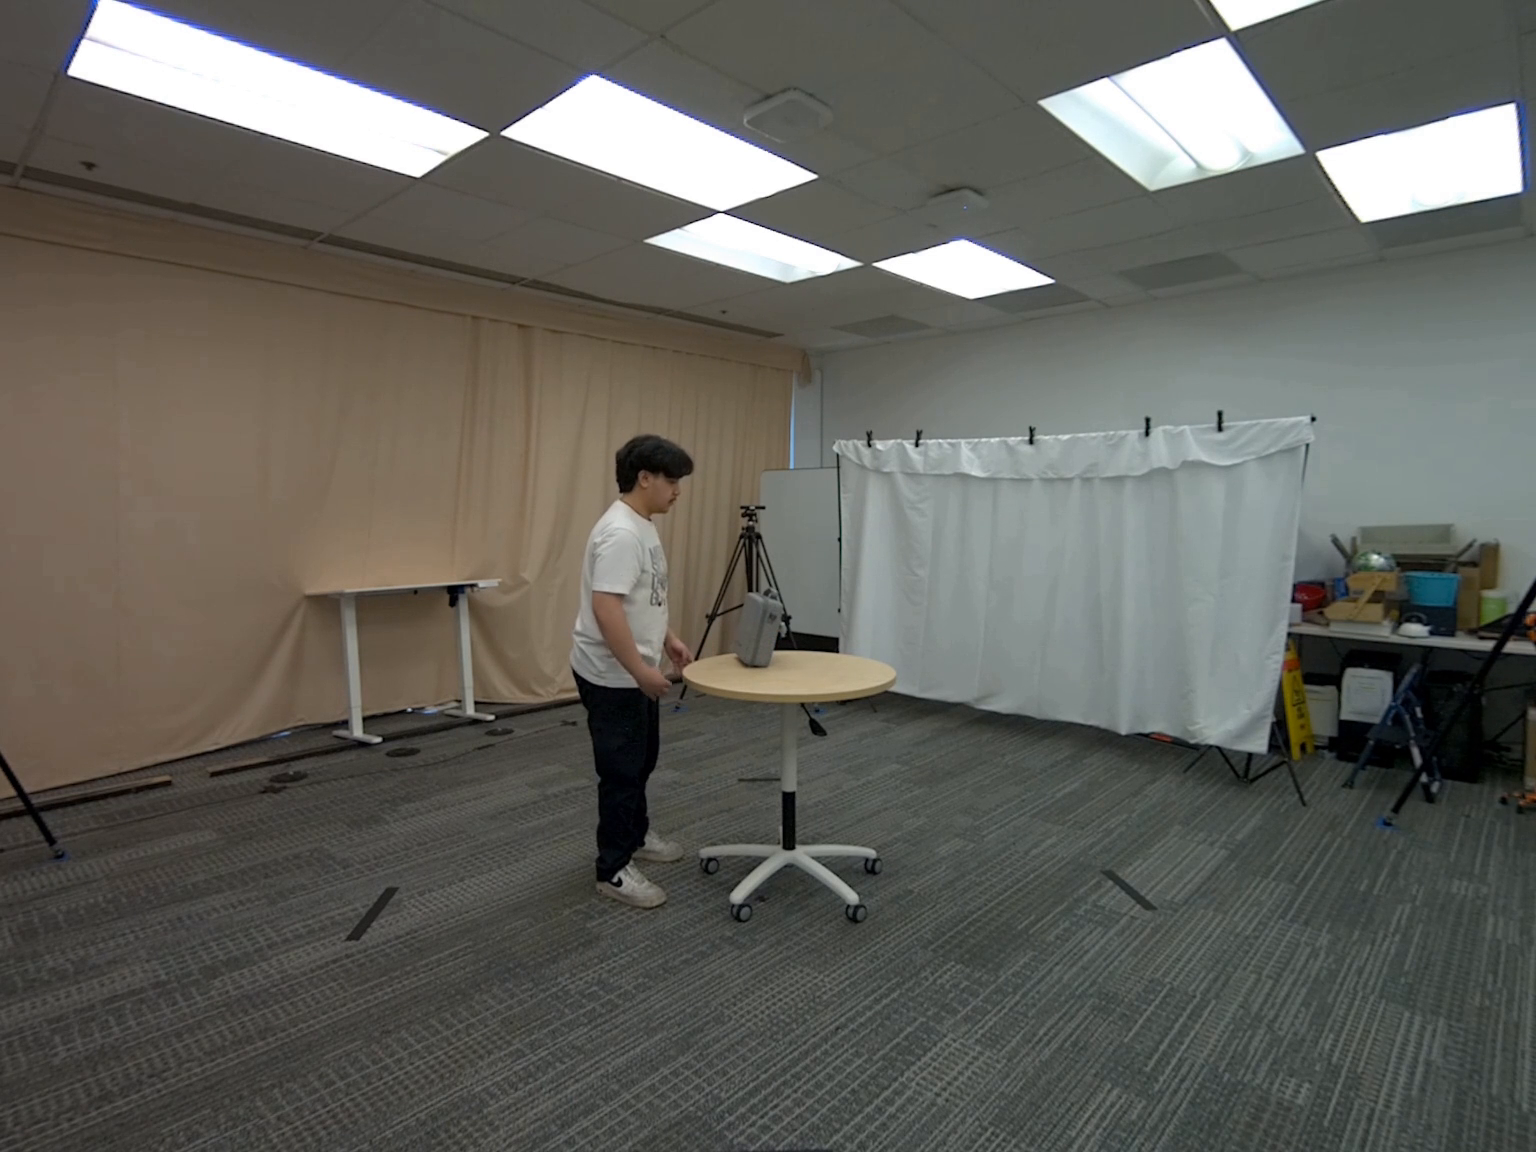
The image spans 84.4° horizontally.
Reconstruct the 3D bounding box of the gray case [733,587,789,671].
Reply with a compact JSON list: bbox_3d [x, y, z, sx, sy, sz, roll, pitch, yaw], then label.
[{"bbox_3d":[-0.032,0.191,3.191,0.103,0.260,0.260,12,2,-12],"label":"gray case"}]
